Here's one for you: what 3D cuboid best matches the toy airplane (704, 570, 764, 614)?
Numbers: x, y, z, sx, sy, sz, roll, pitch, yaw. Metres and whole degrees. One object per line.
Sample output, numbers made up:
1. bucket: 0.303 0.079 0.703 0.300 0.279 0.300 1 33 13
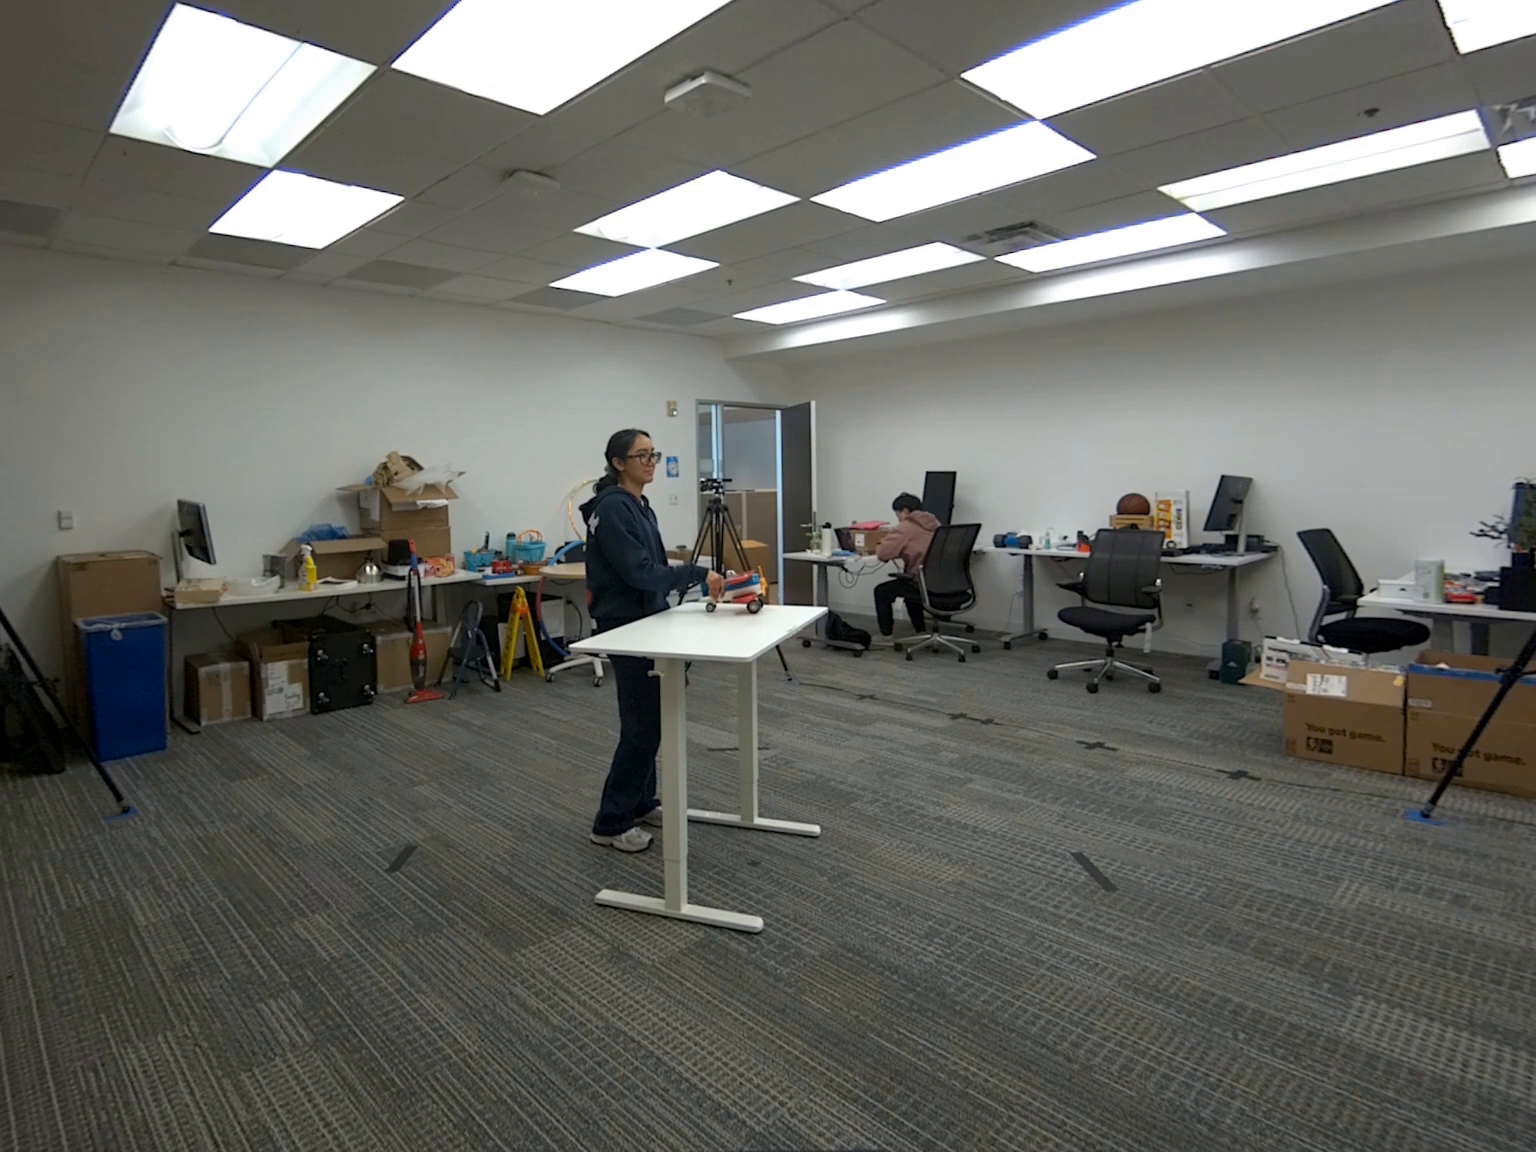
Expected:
1. toy airplane: -0.136 0.066 3.303 0.255 0.156 0.257 -1 6 -19
